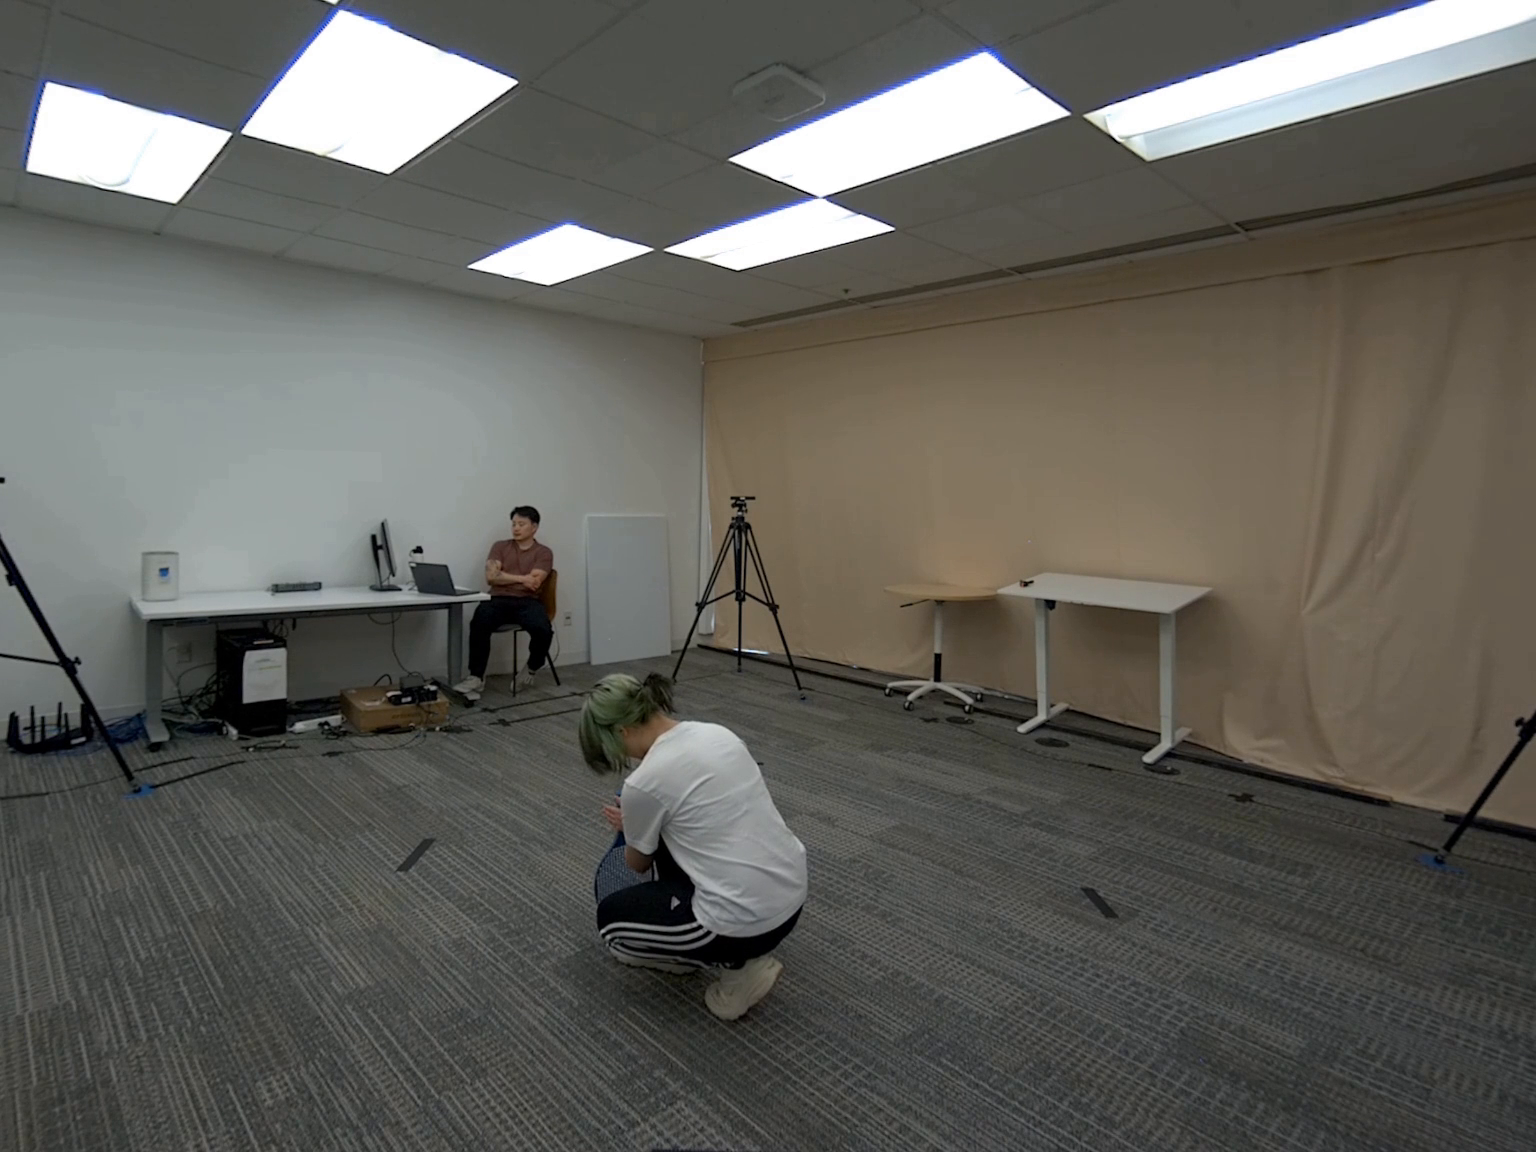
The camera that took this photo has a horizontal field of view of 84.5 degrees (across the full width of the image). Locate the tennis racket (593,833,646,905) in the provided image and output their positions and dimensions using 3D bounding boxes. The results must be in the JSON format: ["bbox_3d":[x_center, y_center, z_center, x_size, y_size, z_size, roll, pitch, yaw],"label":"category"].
[{"bbox_3d":[-0.478,0.918,2.743,0.209,0.431,0.032,-5,8,-33],"label":"tennis racket"}]
